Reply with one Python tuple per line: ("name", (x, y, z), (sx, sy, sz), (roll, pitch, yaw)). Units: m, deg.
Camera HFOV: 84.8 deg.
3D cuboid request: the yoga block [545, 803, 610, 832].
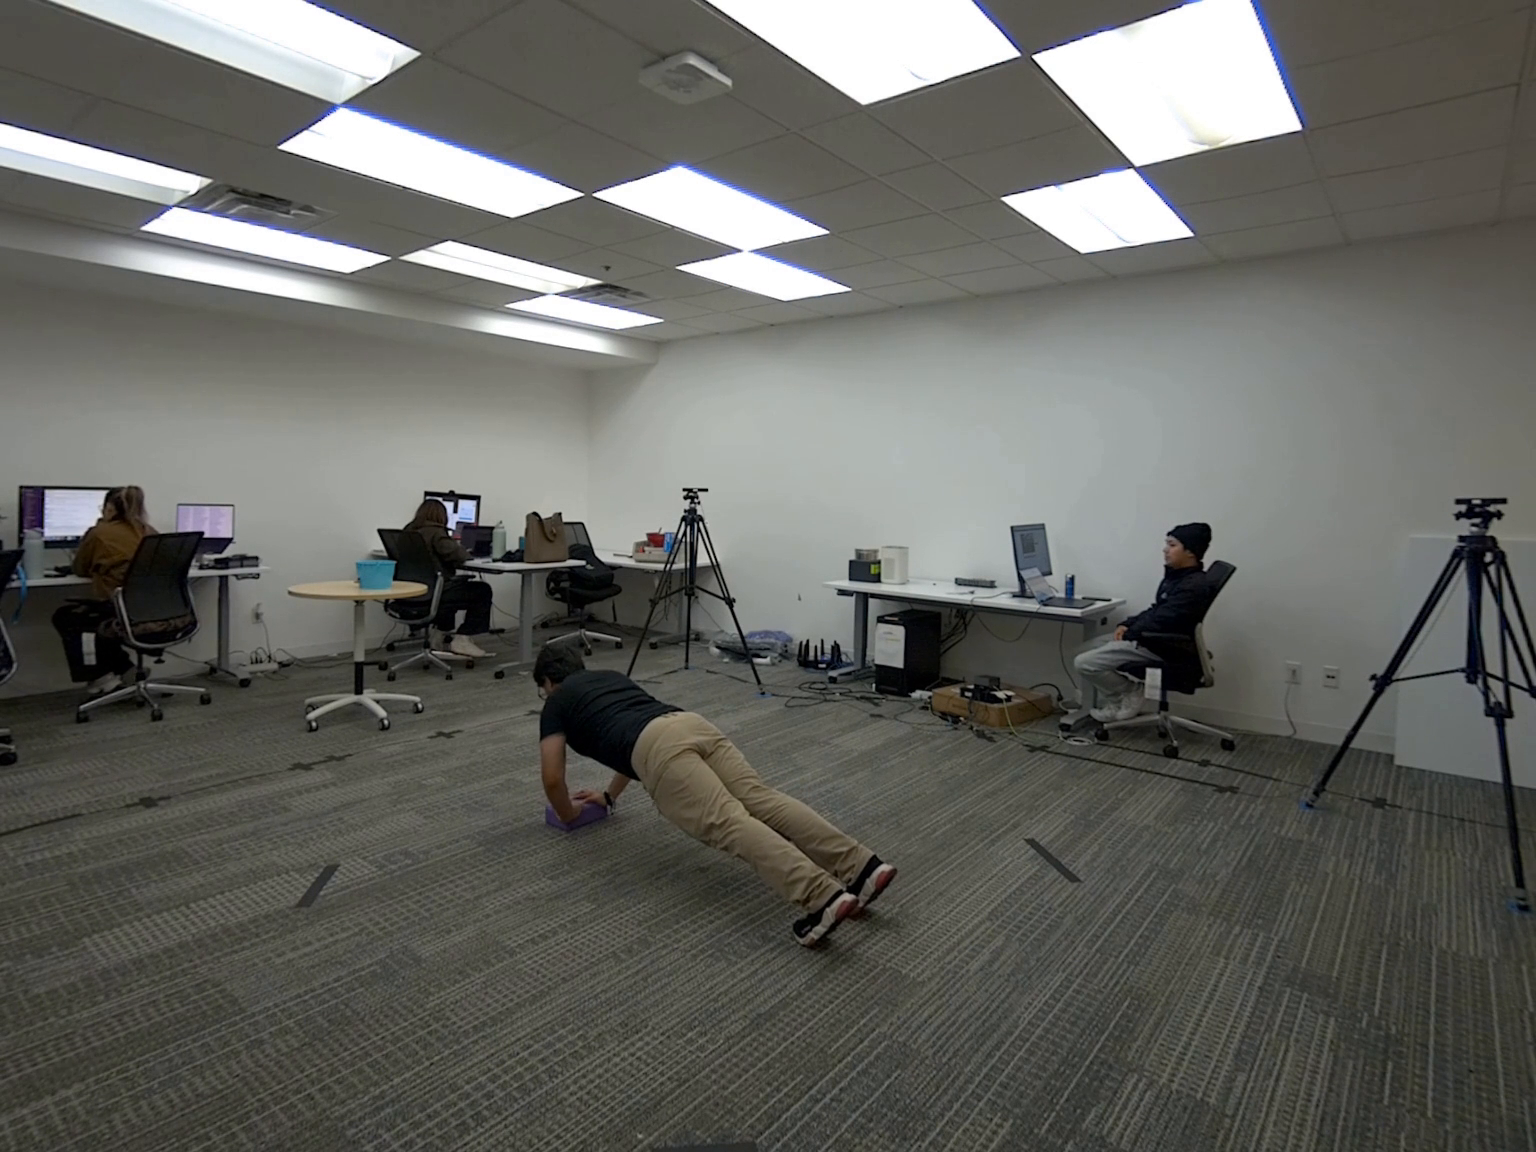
("yoga block", (-0.816, 0.984, 3.566), (0.154, 0.076, 0.223), (3, 5, 36))
